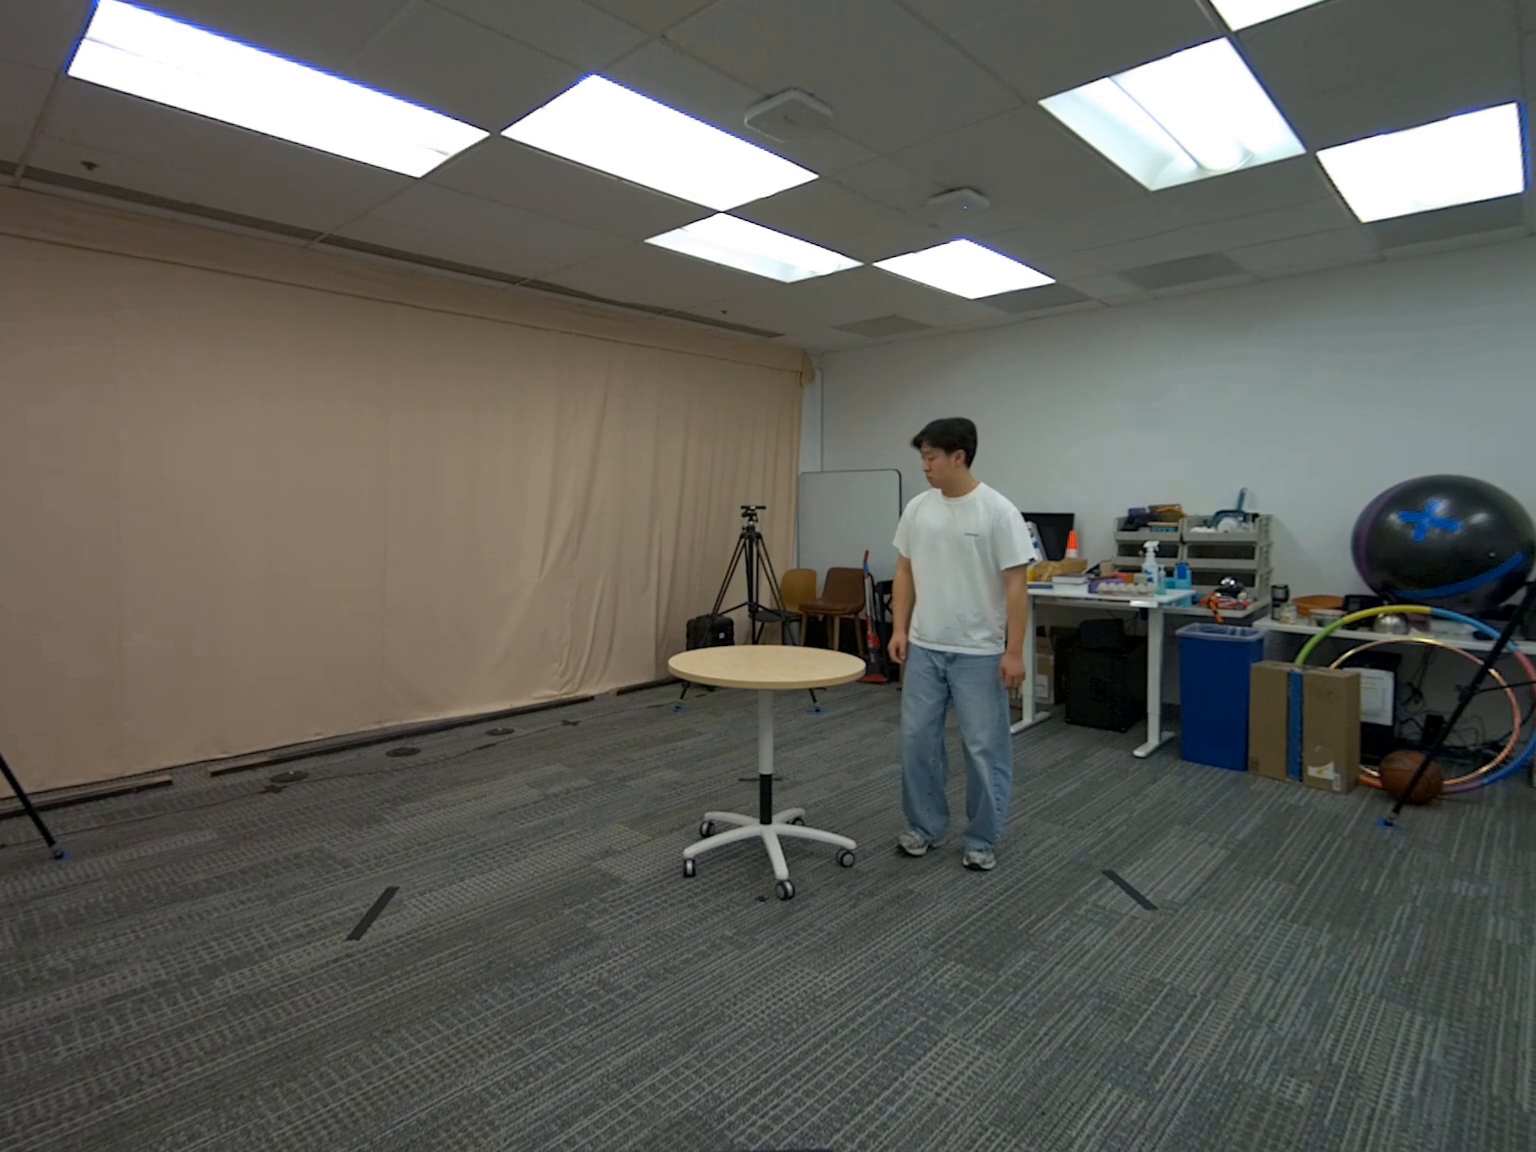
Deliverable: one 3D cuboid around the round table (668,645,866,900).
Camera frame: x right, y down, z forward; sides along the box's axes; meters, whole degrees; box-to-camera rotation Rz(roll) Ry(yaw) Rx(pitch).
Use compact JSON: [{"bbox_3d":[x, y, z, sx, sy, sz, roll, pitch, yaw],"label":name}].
[{"bbox_3d":[-0.003,0.729,3.306,0.763,0.792,0.766,0,4,-2],"label":"round table"}]
